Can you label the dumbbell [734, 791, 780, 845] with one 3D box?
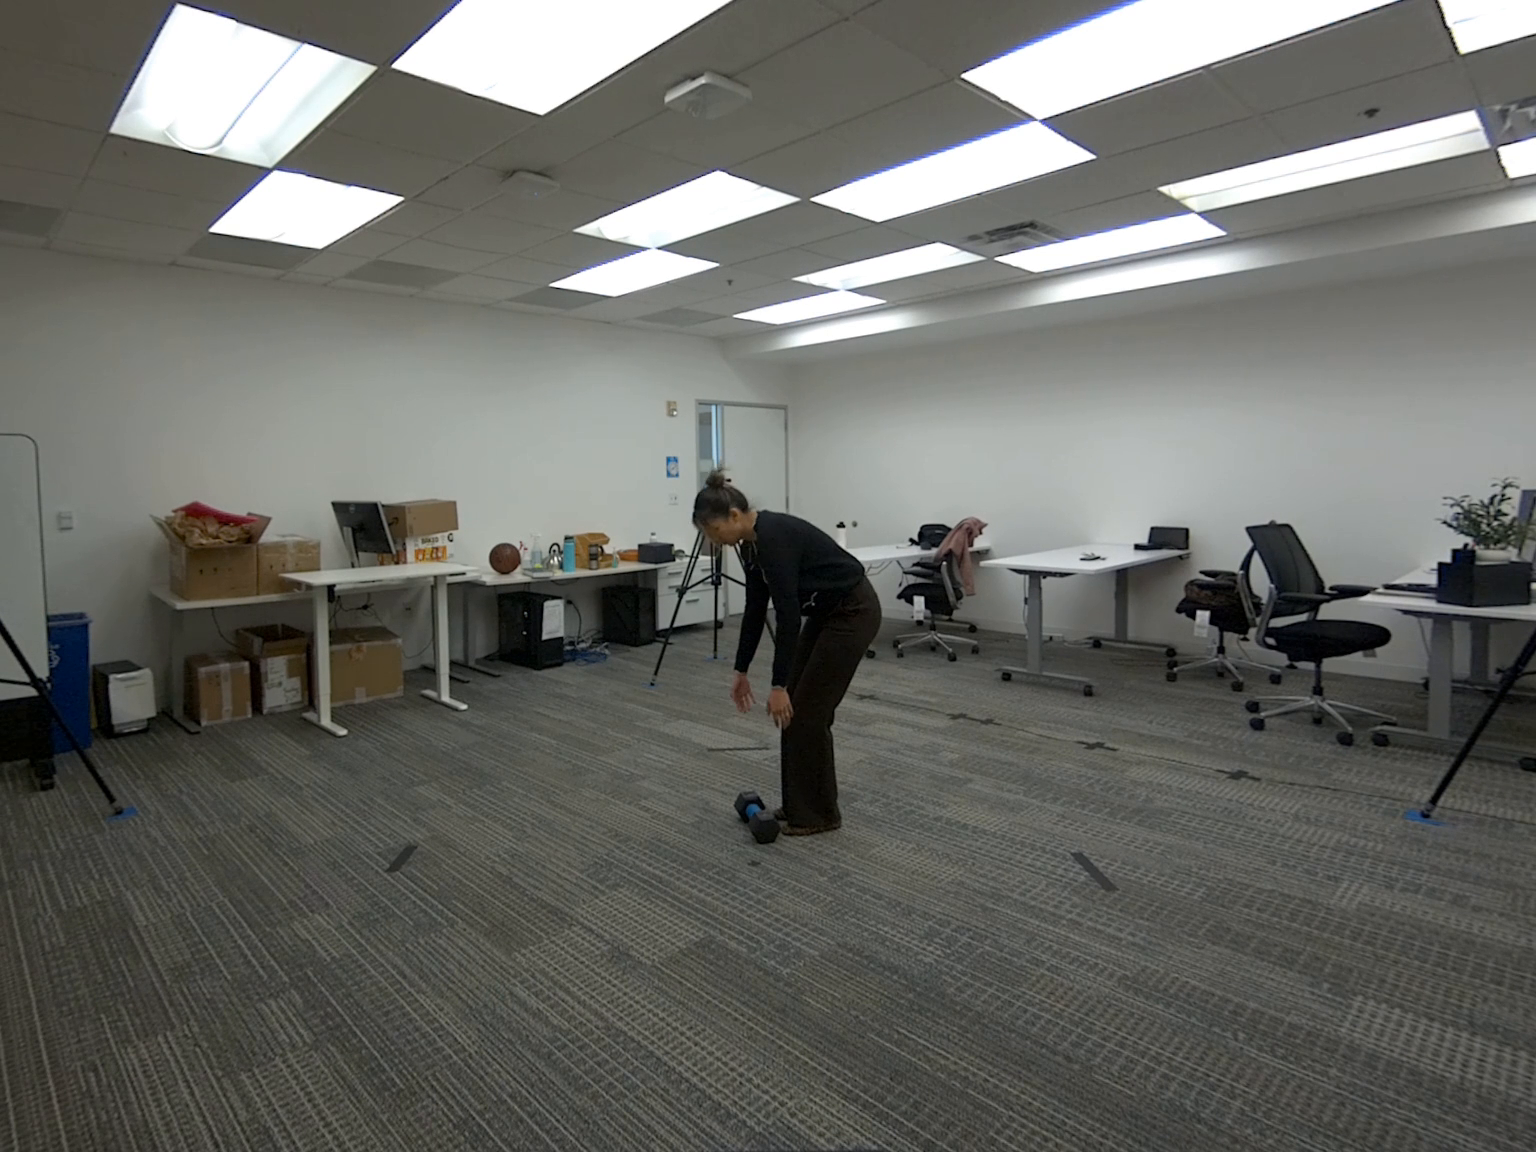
[{"bbox_3d":[-0.041,0.958,3.404,0.108,0.121,0.298,-33,12,-10],"label":"dumbbell"}]
